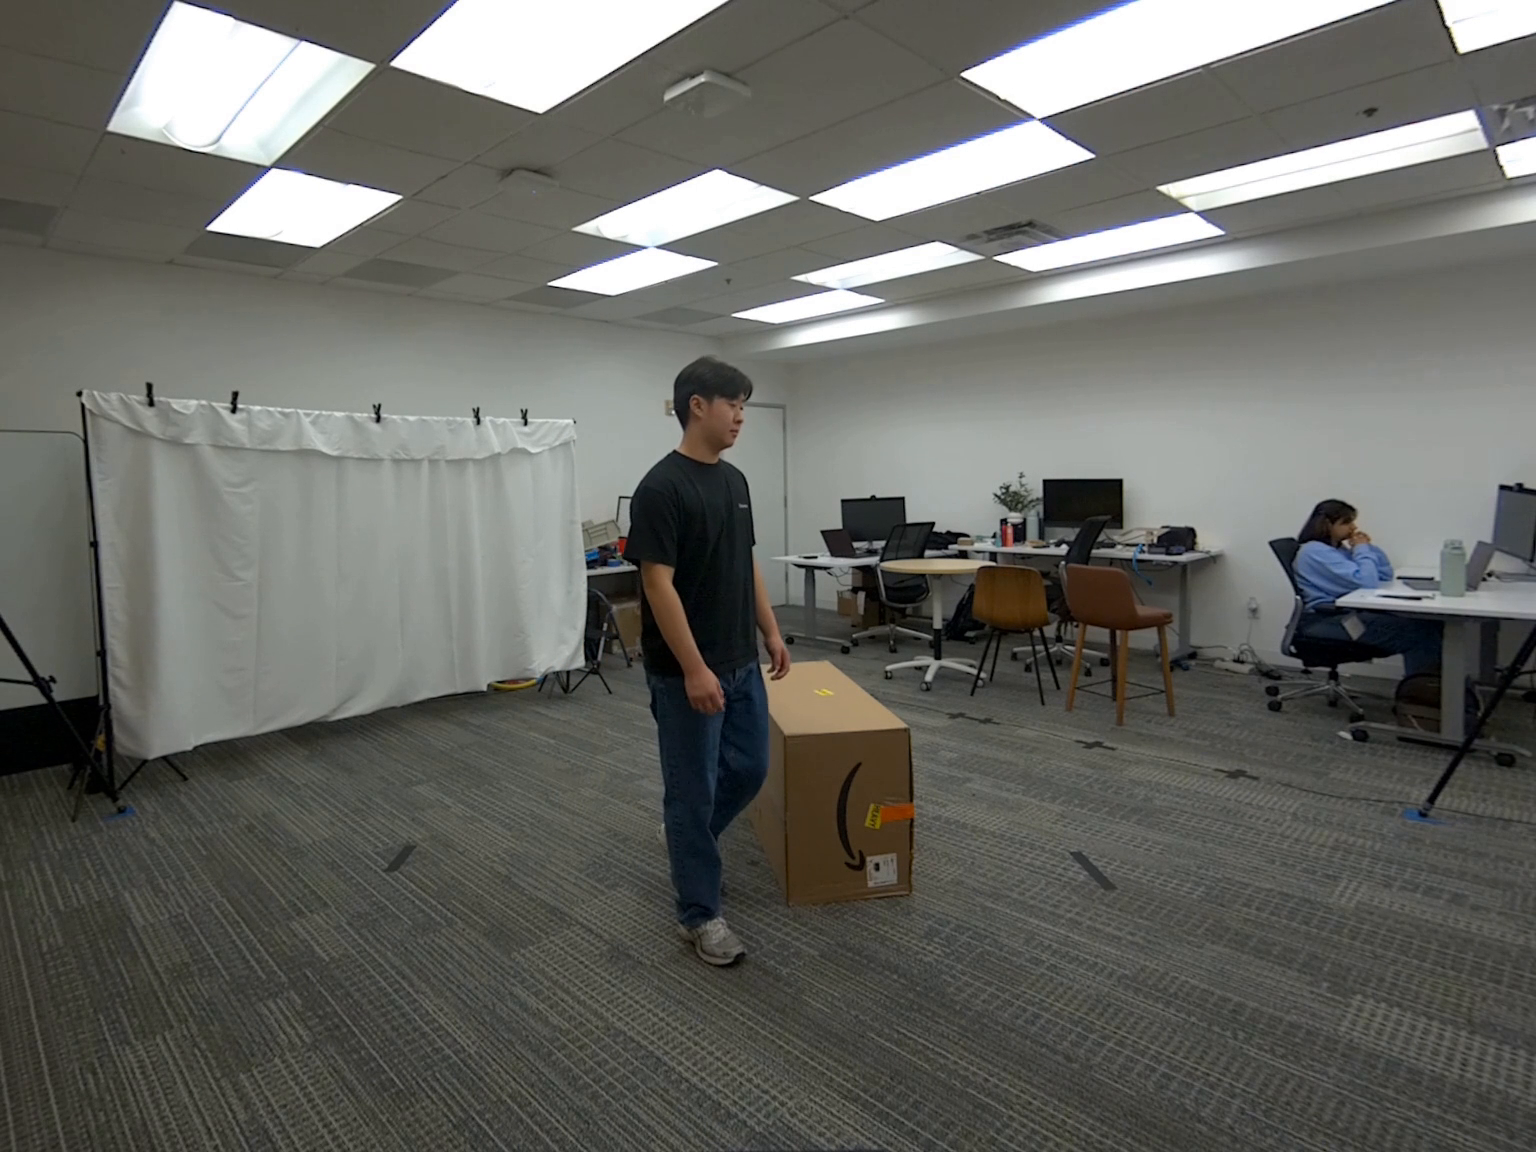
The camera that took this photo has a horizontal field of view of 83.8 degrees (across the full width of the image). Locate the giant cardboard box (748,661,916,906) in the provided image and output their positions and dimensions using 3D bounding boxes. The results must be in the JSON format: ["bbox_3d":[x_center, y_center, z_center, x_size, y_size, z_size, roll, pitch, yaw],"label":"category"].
[{"bbox_3d":[0.175,0.729,3.299,0.442,0.581,1.042,-1,6,-11],"label":"giant cardboard box"}]
